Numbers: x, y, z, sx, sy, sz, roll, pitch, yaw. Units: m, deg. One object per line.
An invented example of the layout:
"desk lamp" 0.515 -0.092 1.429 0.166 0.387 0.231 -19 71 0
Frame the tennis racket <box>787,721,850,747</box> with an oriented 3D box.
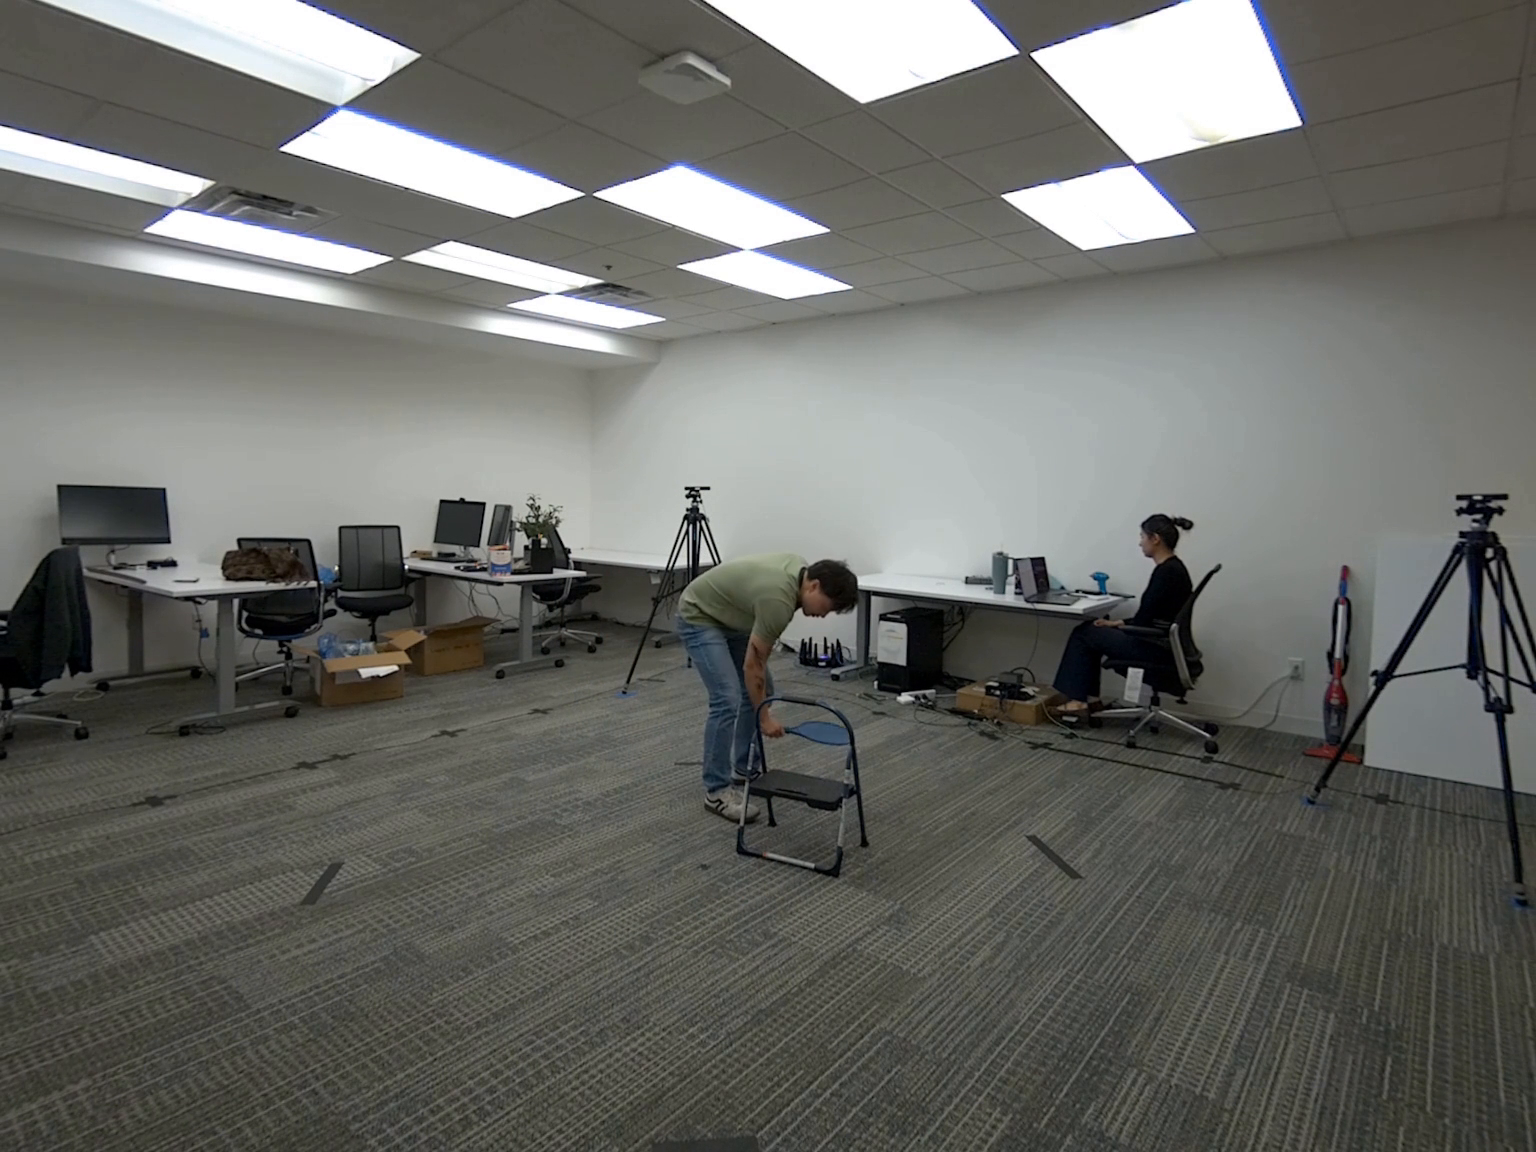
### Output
"tennis racket" 0.176 0.709 3.758 0.425 0.031 0.220 6 14 -17
